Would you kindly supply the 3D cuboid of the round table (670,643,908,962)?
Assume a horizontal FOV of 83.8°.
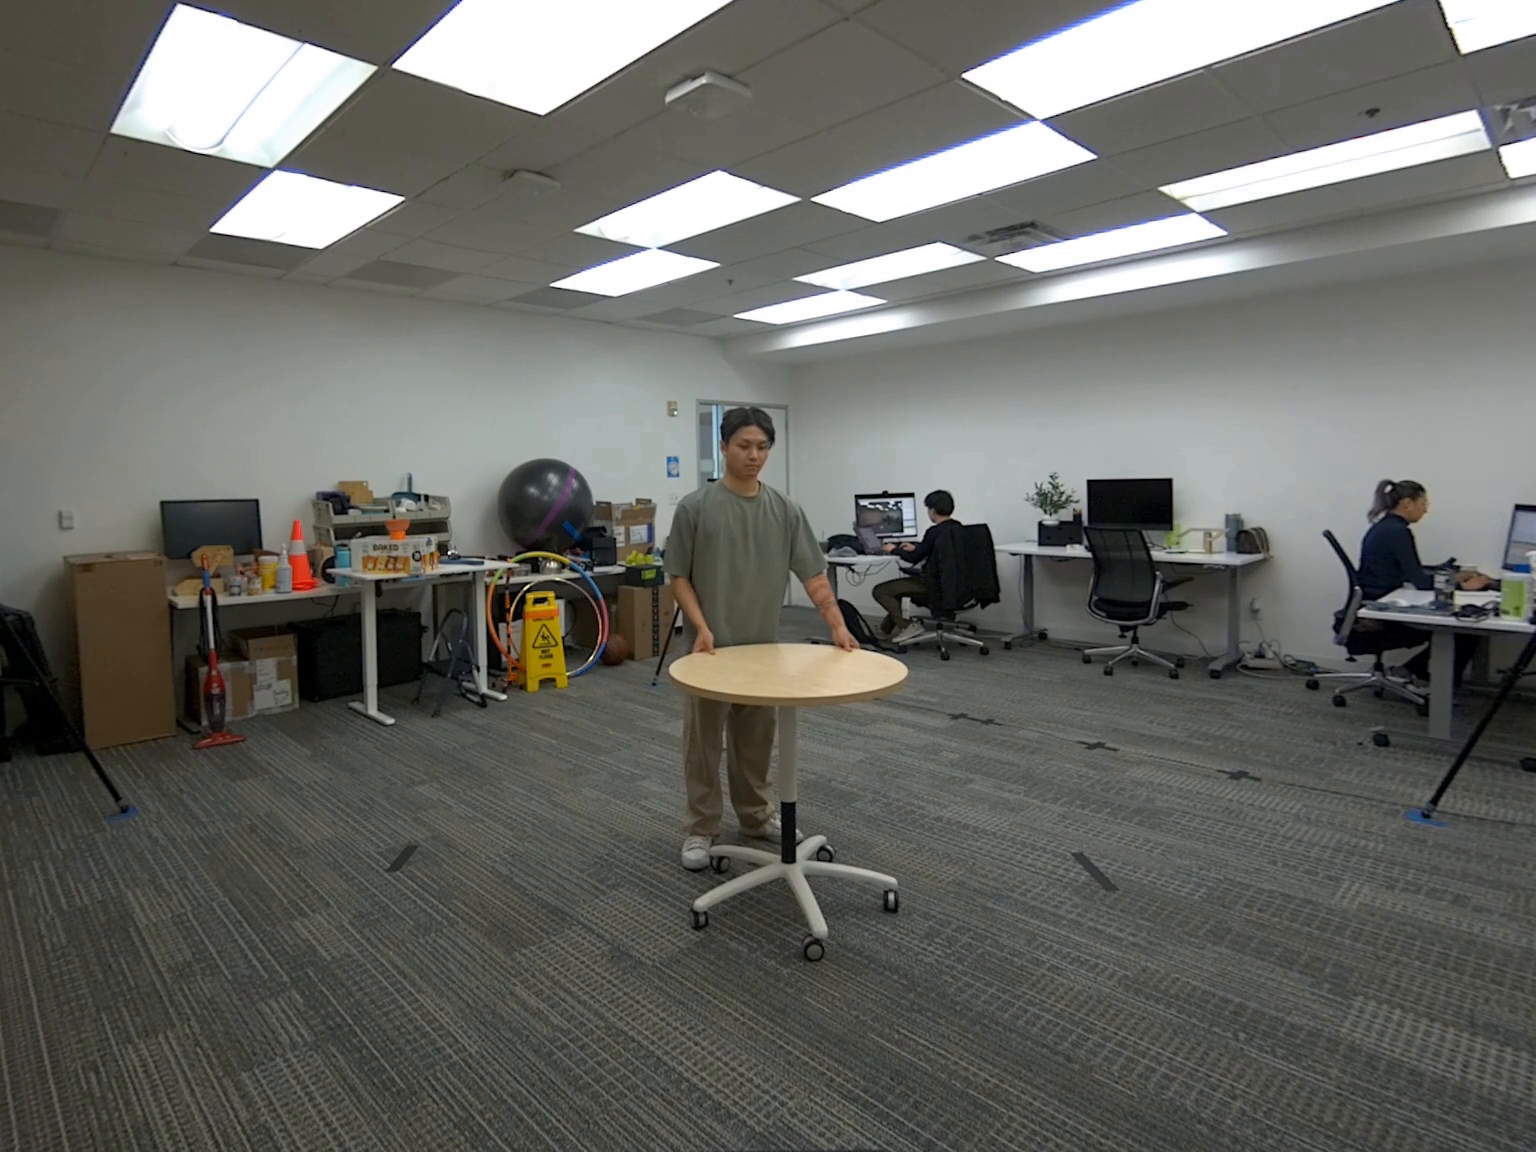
[{"bbox_3d":[0.053,0.687,2.785,0.784,0.783,0.789,0,5,-2],"label":"round table"}]
